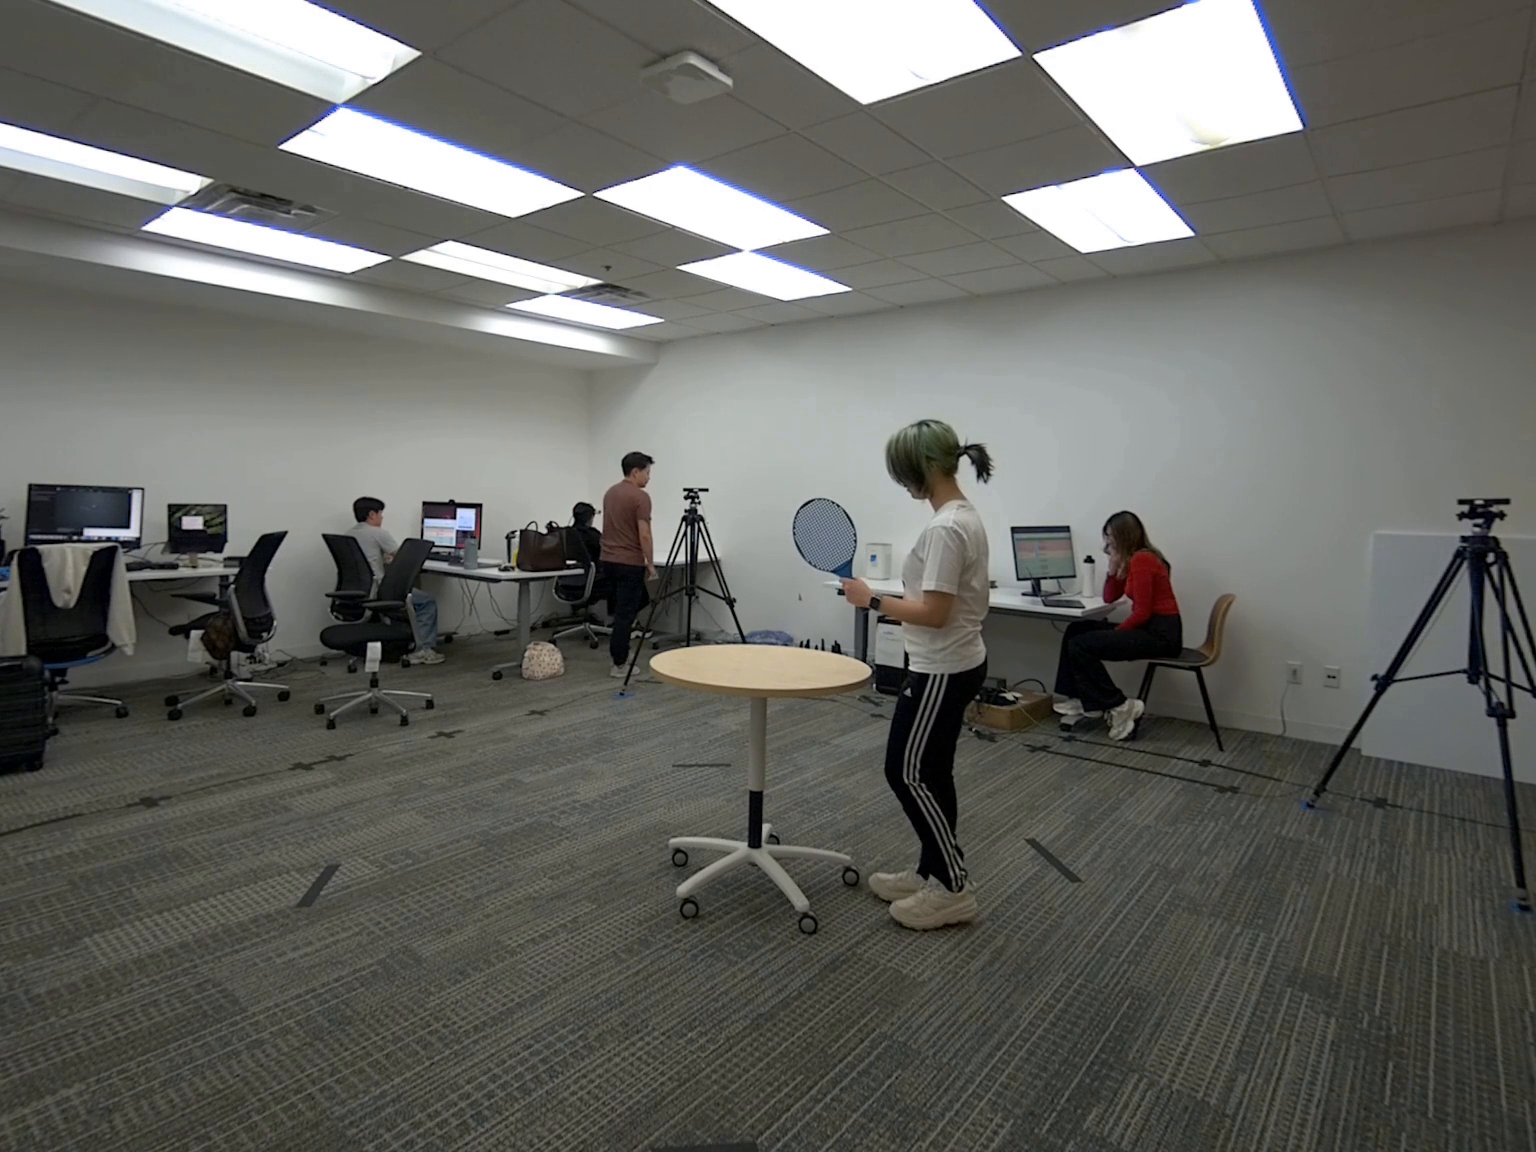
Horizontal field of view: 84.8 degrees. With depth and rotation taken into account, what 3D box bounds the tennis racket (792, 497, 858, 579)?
[{"bbox_3d":[0.245,-0.070,2.869,0.215,0.445,0.031,-36,-22,17],"label":"tennis racket"}]
